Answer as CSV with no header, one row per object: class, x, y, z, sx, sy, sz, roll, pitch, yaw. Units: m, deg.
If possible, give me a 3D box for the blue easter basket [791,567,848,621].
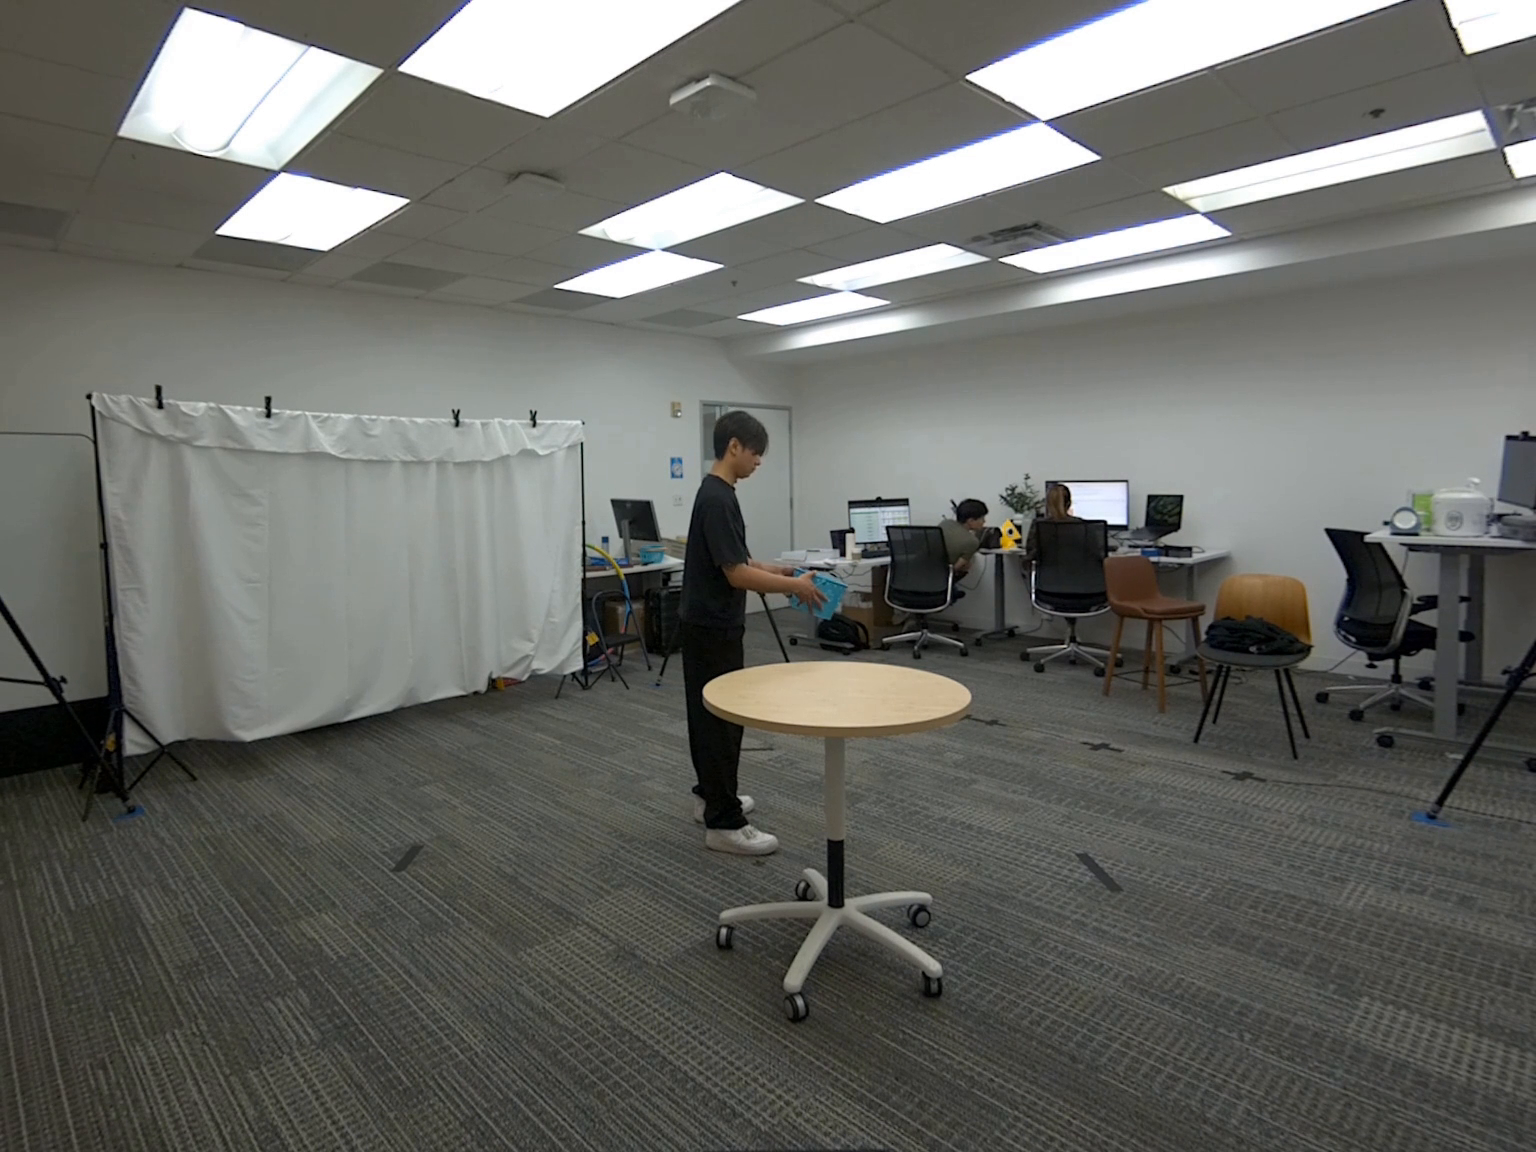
blue easter basket,0.186,0.076,3.422,0.243,0.155,0.245,17,5,-3
